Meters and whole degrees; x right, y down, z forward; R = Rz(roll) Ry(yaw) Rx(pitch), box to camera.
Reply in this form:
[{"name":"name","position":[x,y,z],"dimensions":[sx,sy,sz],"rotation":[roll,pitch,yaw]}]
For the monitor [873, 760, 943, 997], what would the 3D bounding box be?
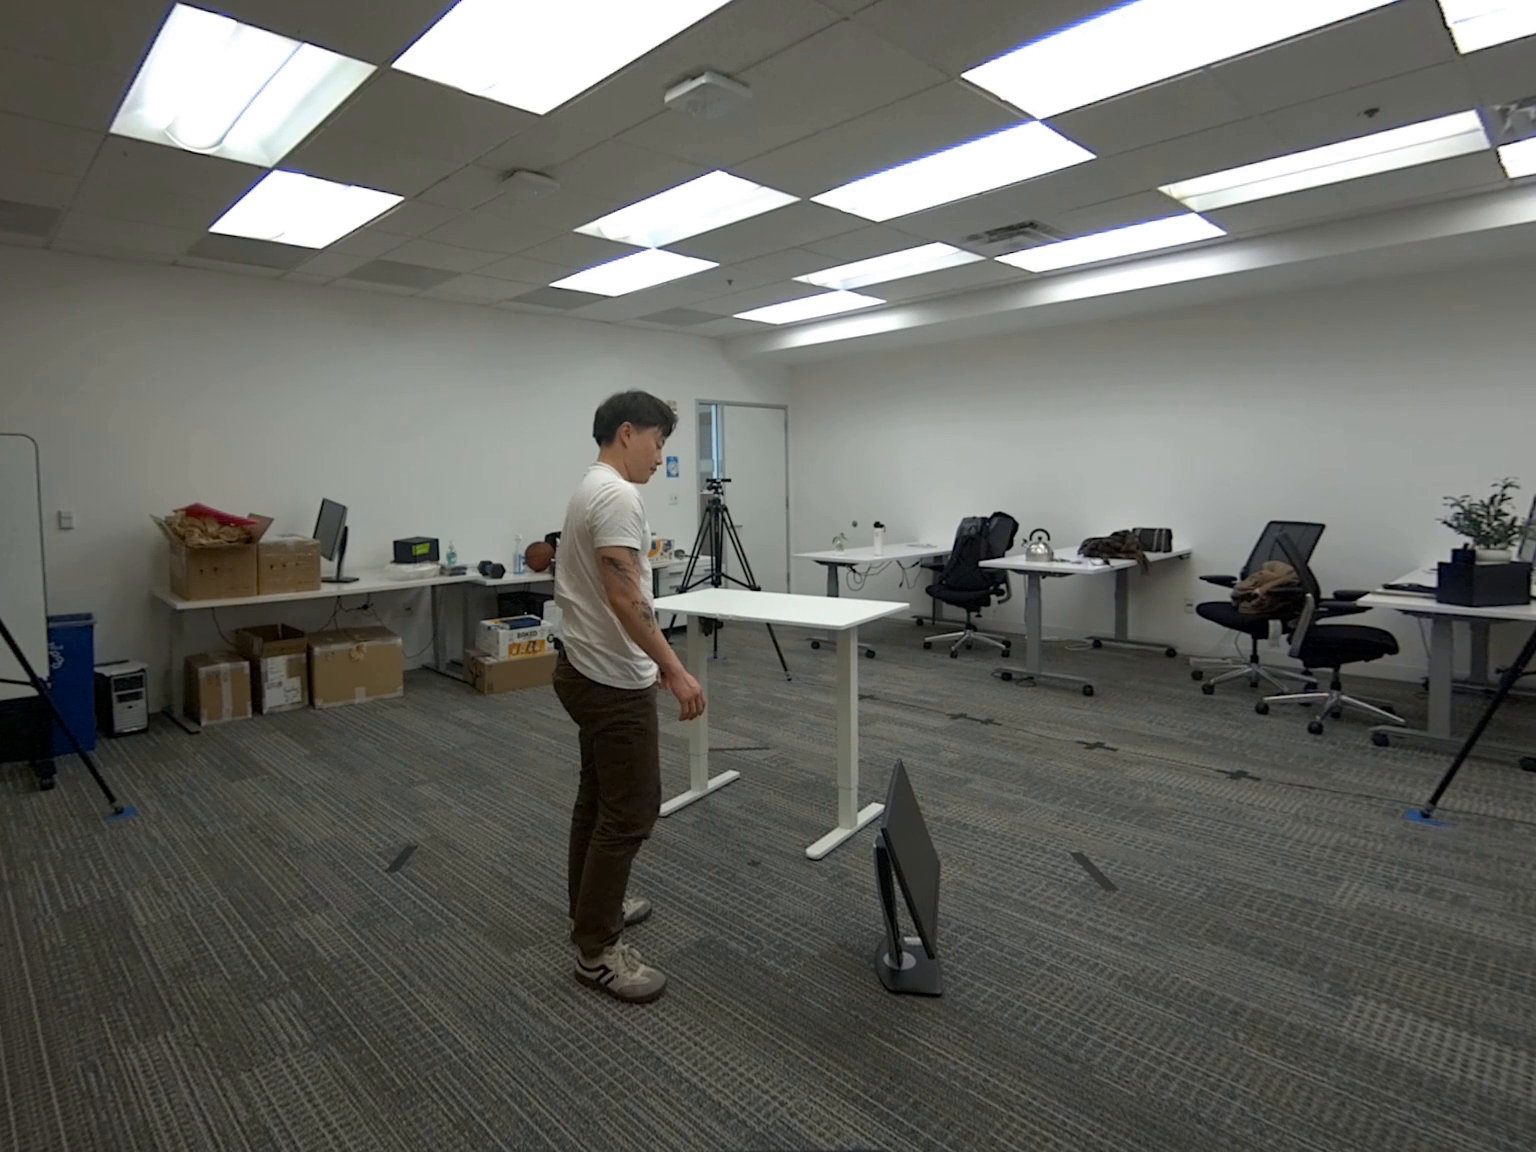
[{"name":"monitor","position":[0.384,0.854,2.417],"dimensions":[0.189,0.520,0.536],"rotation":[-3,6,10]}]
